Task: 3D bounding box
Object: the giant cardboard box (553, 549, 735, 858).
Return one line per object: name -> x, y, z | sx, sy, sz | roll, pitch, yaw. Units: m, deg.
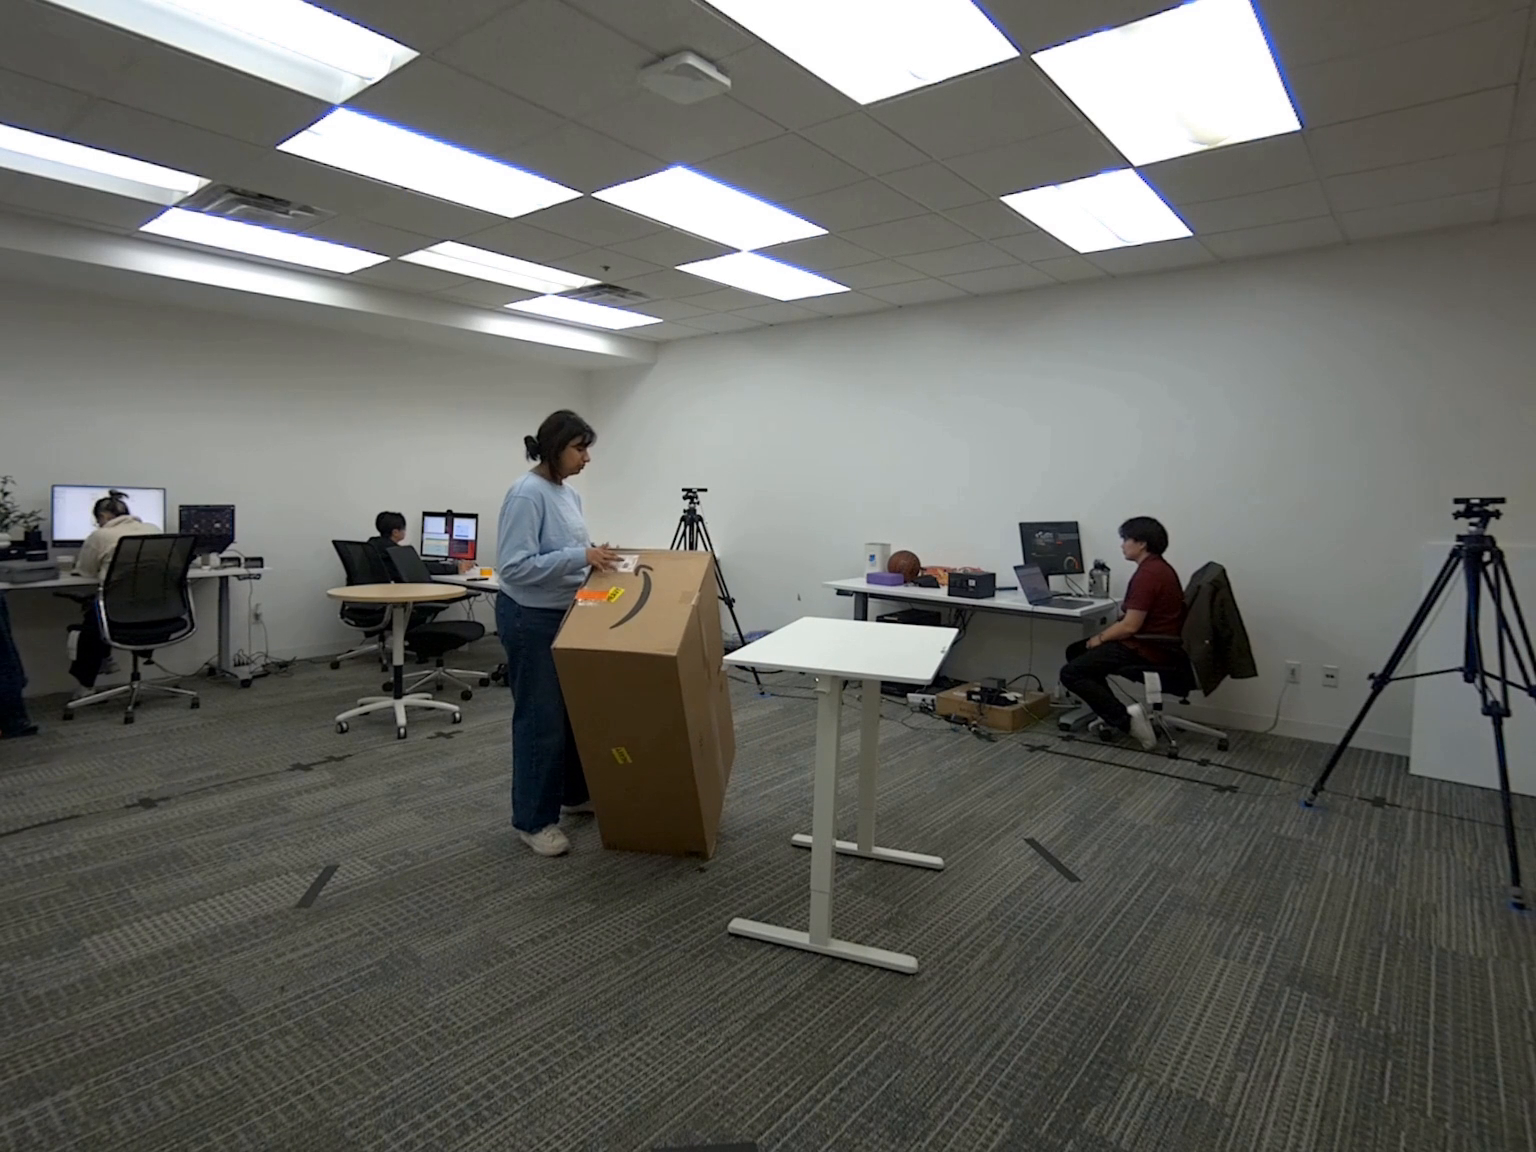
giant cardboard box -> -0.430, 0.478, 3.187 | 0.431, 0.996, 0.588 | 1, 34, 9
